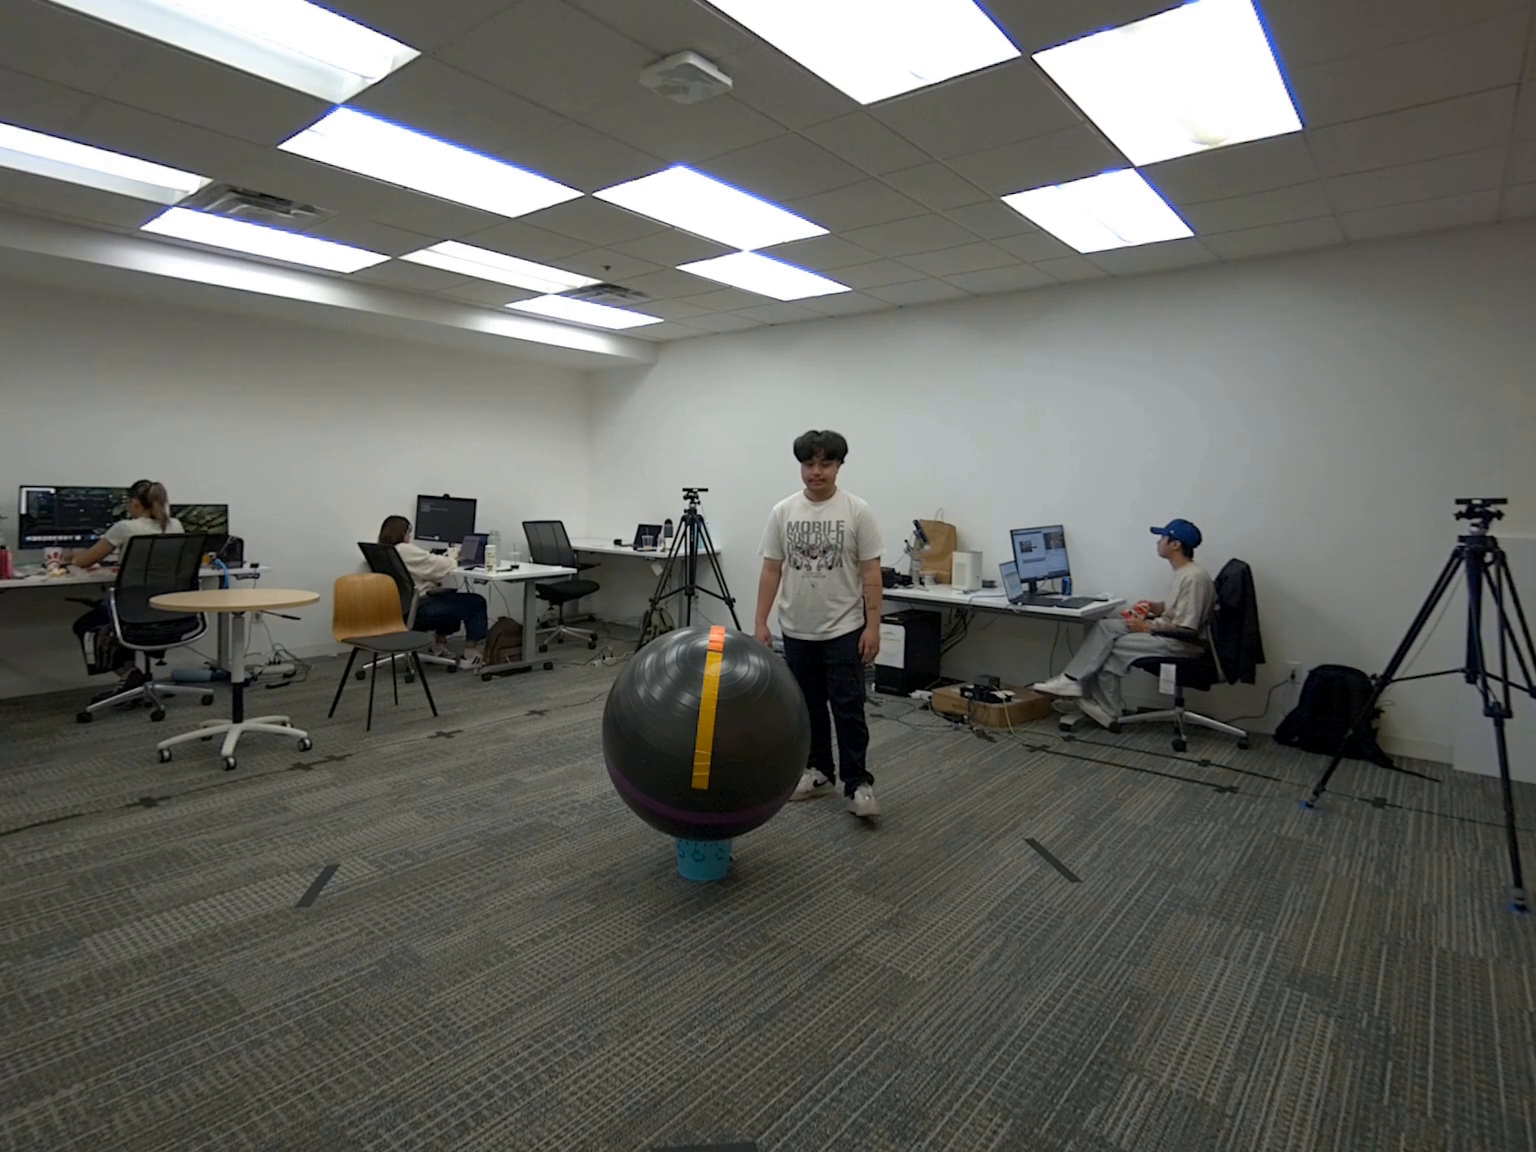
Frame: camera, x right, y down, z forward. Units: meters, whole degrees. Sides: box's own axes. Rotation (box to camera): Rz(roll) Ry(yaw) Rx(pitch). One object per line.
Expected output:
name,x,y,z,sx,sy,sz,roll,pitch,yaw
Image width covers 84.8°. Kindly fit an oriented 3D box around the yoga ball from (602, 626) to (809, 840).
yoga ball,-0.229,0.565,3.077,0.757,0.756,0.761,1,4,-2
